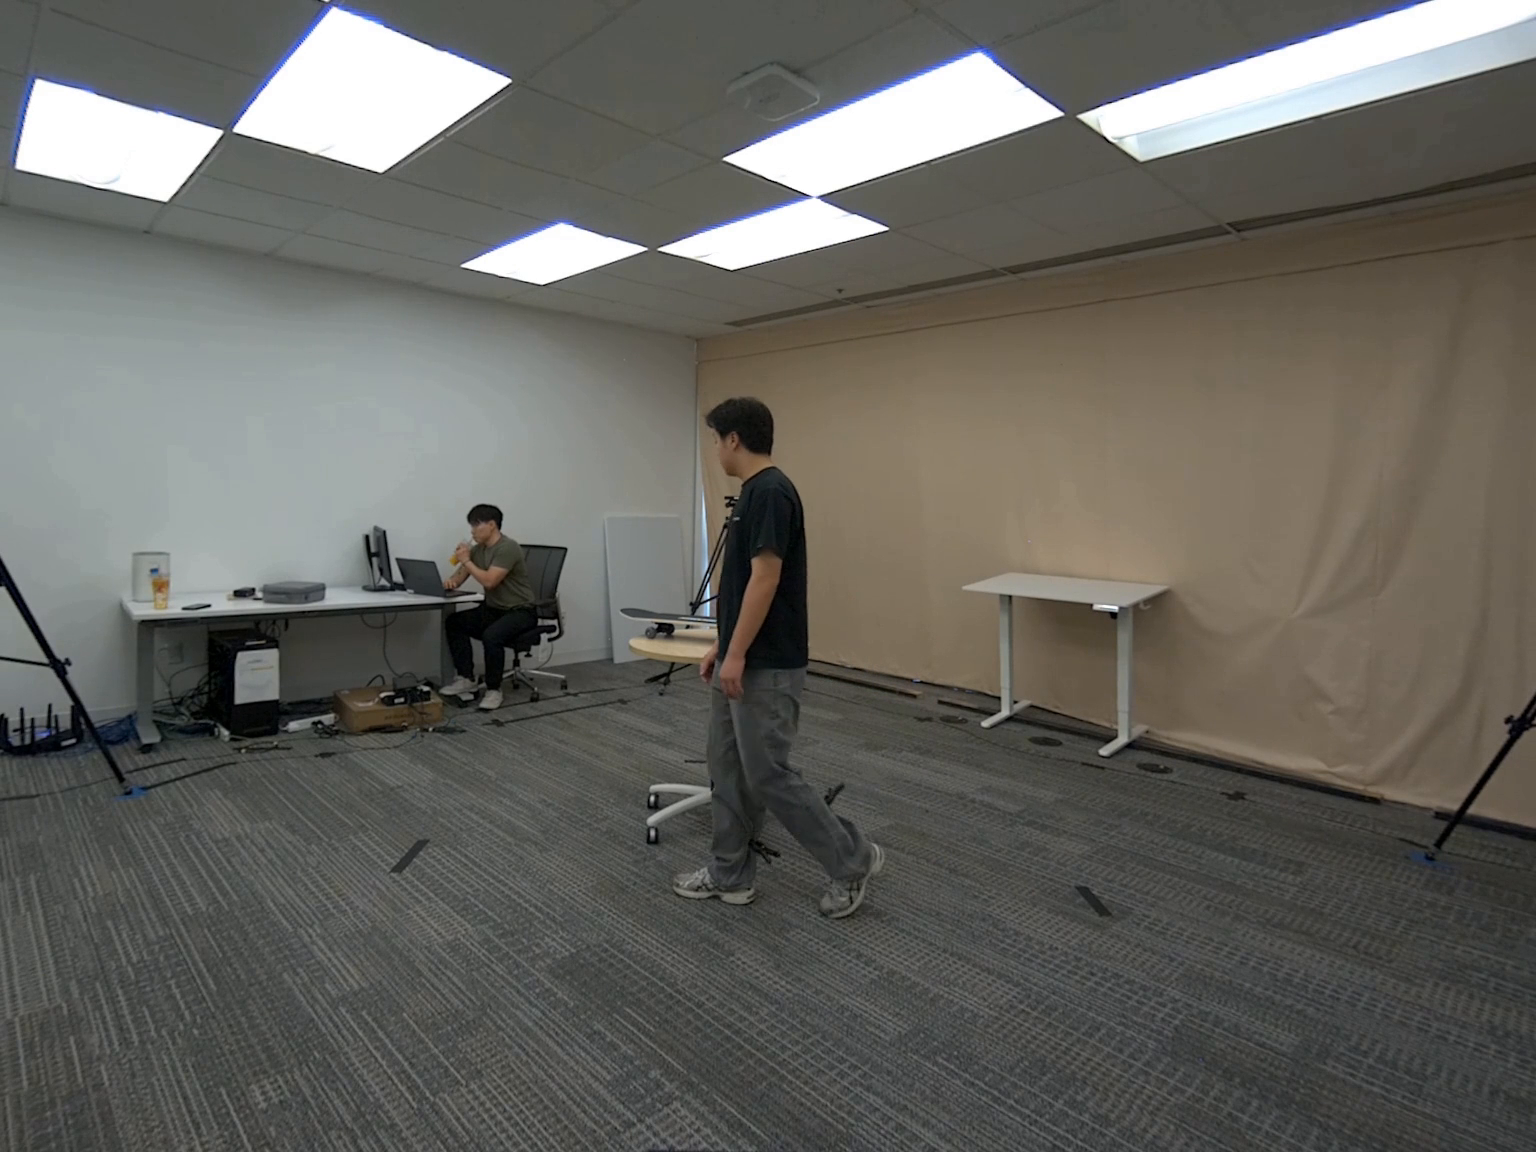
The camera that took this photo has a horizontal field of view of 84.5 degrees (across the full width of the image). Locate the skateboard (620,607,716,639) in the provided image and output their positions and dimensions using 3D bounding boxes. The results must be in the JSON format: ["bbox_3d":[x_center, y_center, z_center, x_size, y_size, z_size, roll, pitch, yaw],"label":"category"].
[{"bbox_3d":[-0.305,0.228,3.609,0.802,0.110,0.190,4,5,27],"label":"skateboard"}]
